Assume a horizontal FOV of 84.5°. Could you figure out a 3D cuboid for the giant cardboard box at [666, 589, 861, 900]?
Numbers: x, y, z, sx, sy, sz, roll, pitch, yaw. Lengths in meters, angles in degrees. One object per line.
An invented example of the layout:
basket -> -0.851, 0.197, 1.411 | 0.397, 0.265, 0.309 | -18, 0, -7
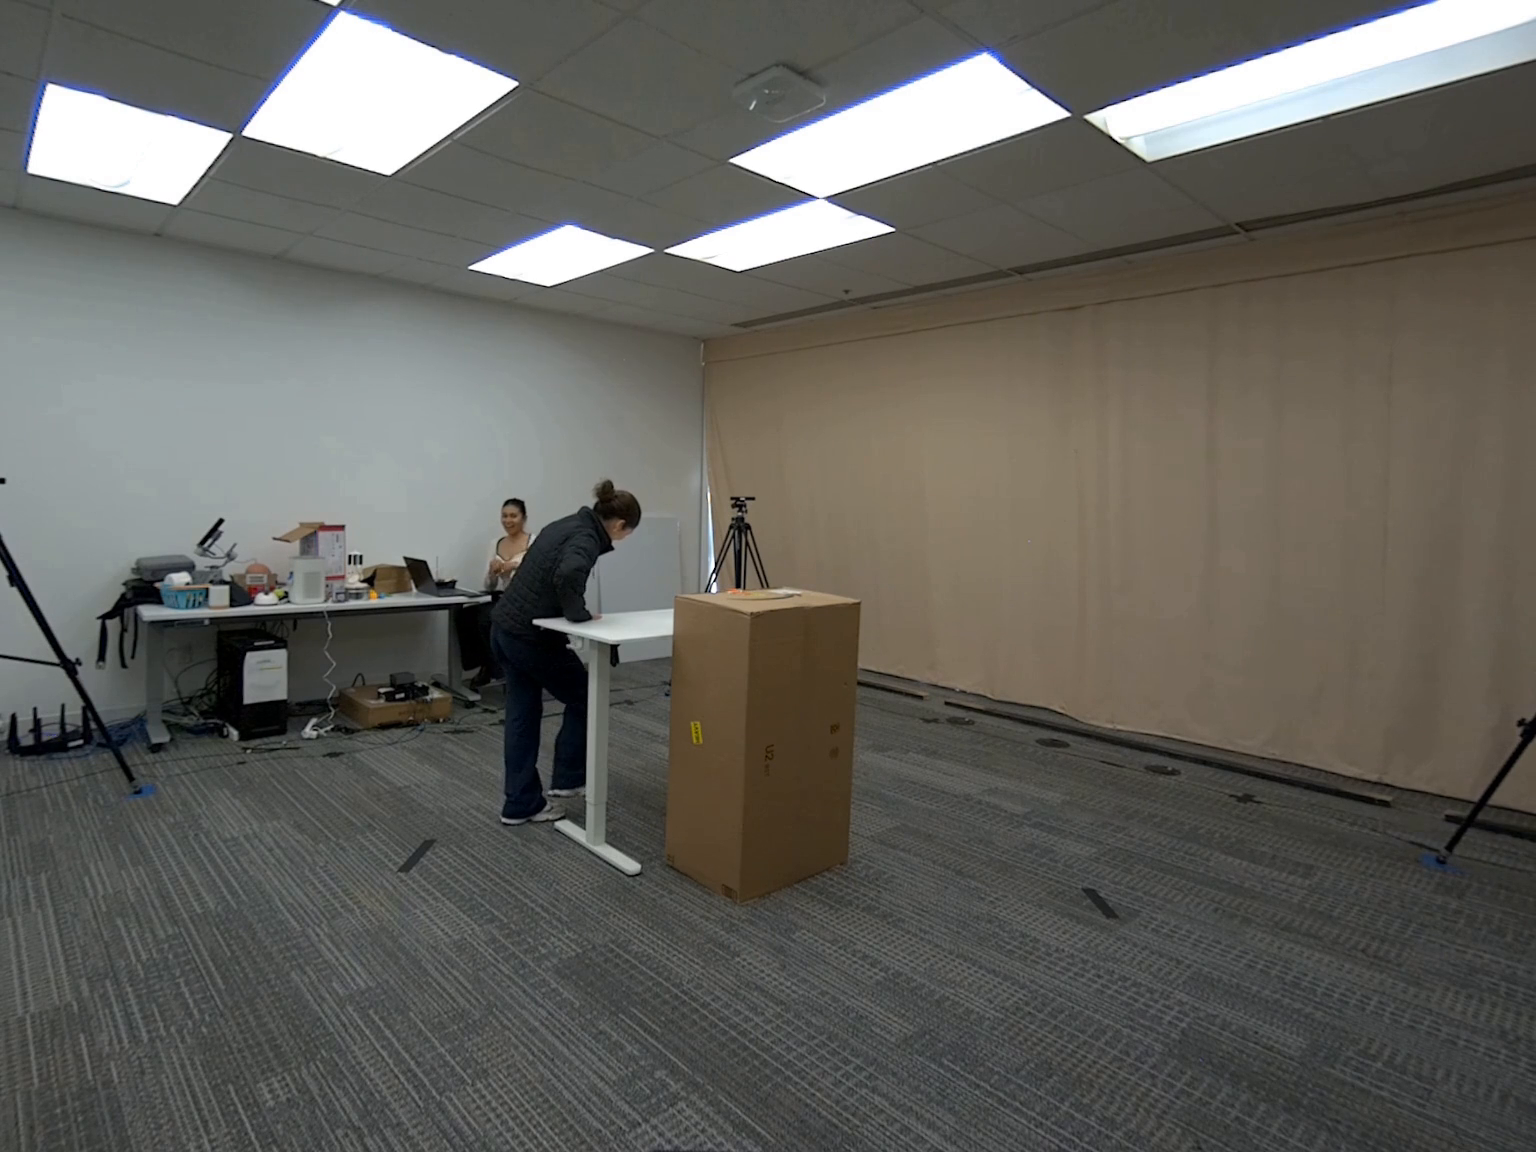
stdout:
giant cardboard box -> -0.022, 0.590, 3.164 | 0.571, 1.024, 0.458 | -2, 6, -41
